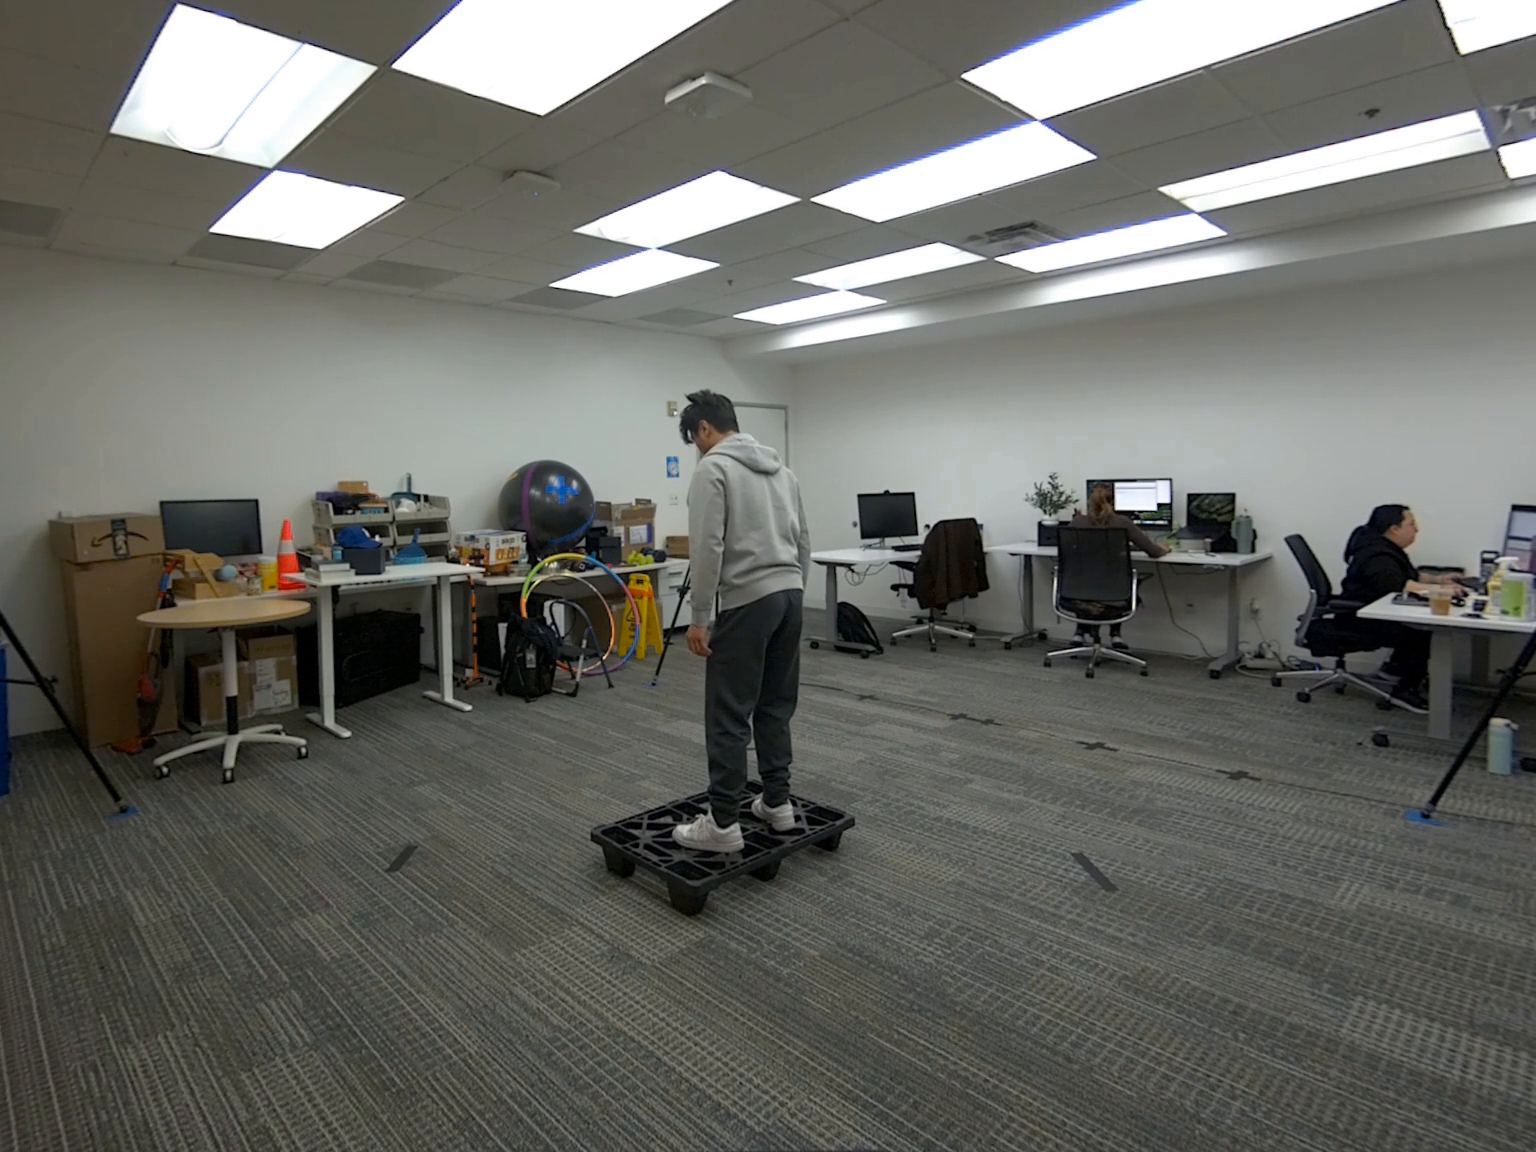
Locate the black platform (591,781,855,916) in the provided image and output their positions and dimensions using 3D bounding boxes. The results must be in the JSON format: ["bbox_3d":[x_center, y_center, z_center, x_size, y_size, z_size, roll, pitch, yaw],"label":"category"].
[{"bbox_3d":[-0.150,0.973,3.145,0.785,0.142,0.624,-7,10,-43],"label":"black platform"}]
